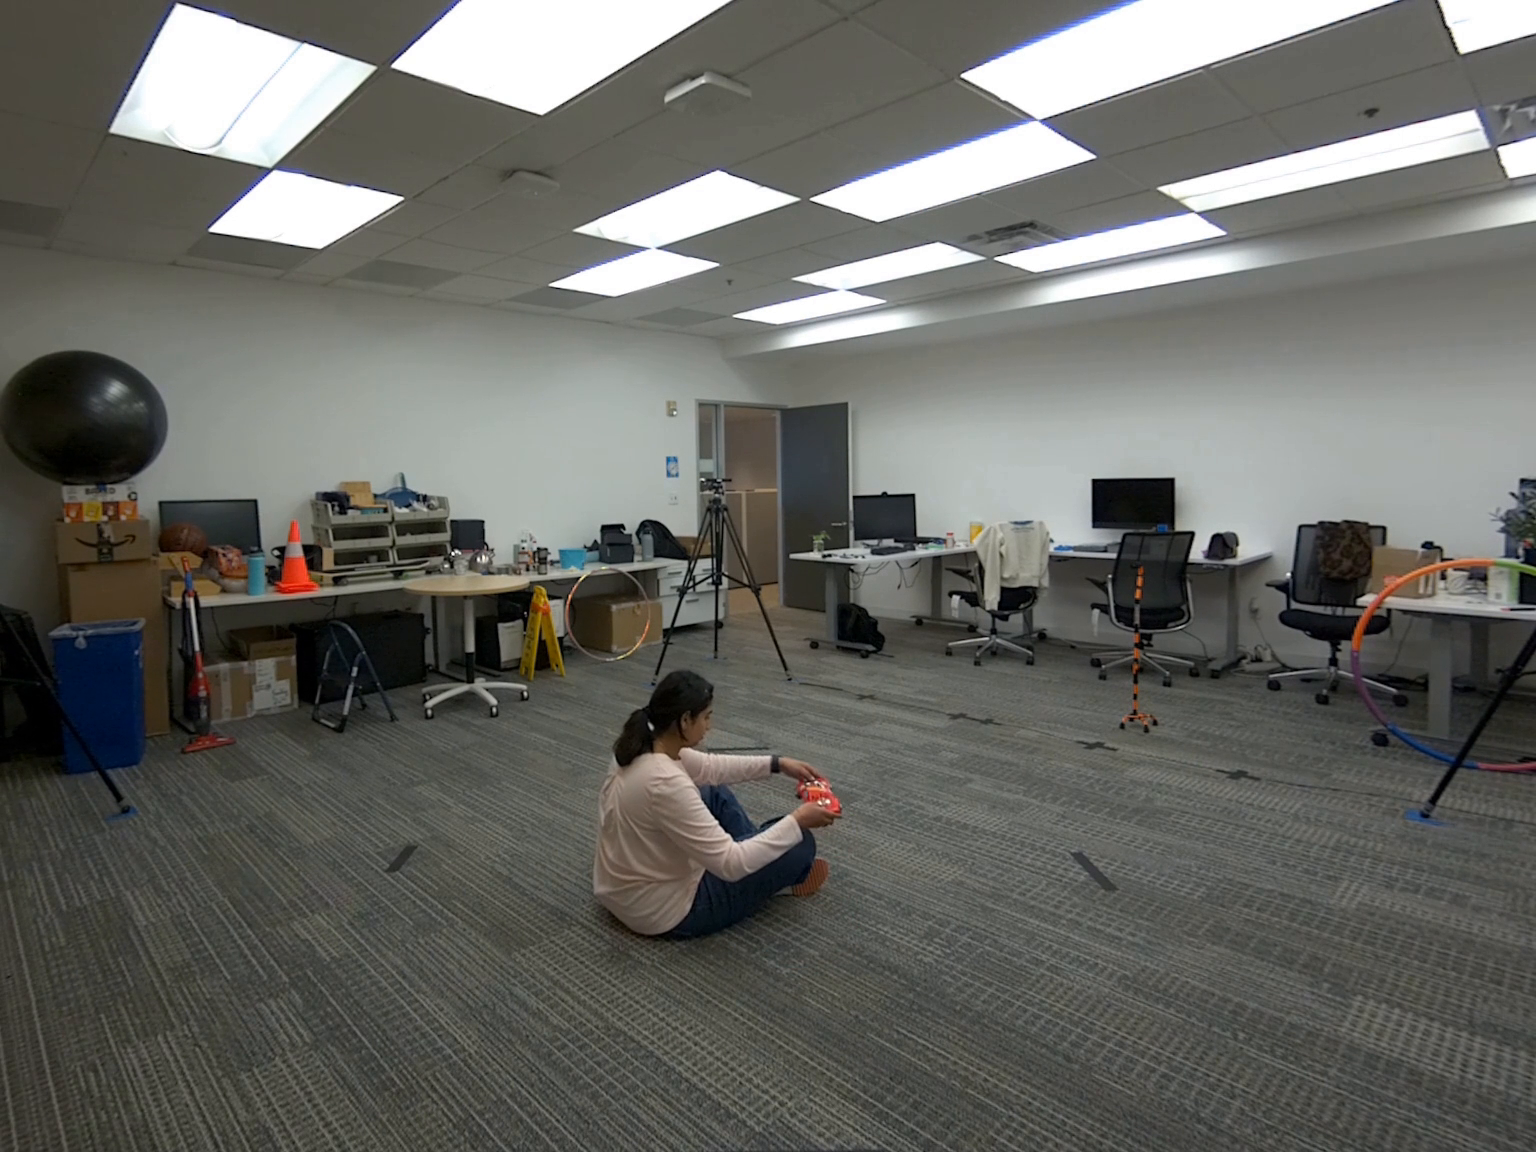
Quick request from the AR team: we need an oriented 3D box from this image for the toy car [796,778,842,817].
[{"bbox_3d":[0.165,0.738,2.812,0.129,0.083,0.256,-7,1,-8],"label":"toy car"}]
